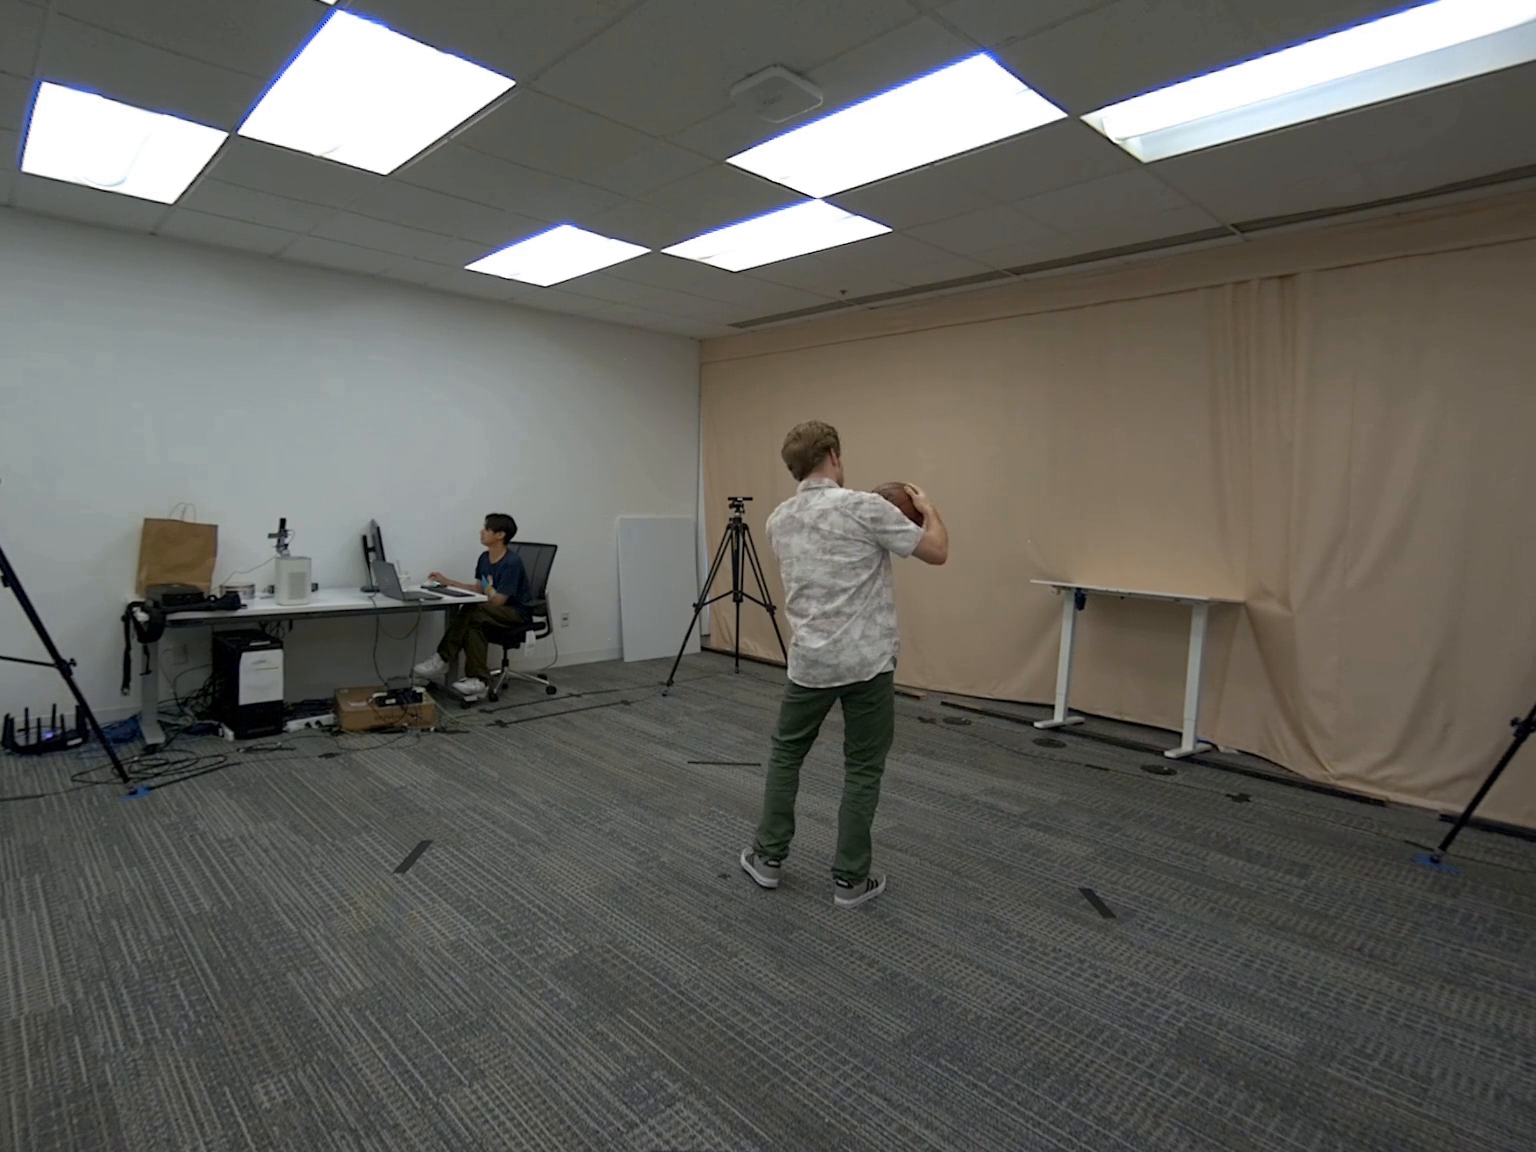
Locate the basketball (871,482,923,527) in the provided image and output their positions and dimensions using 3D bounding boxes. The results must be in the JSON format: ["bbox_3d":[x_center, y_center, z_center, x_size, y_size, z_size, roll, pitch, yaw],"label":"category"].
[{"bbox_3d":[0.473,-0.236,3.220,0.236,0.235,0.237,1,4,-1],"label":"basketball"}]
